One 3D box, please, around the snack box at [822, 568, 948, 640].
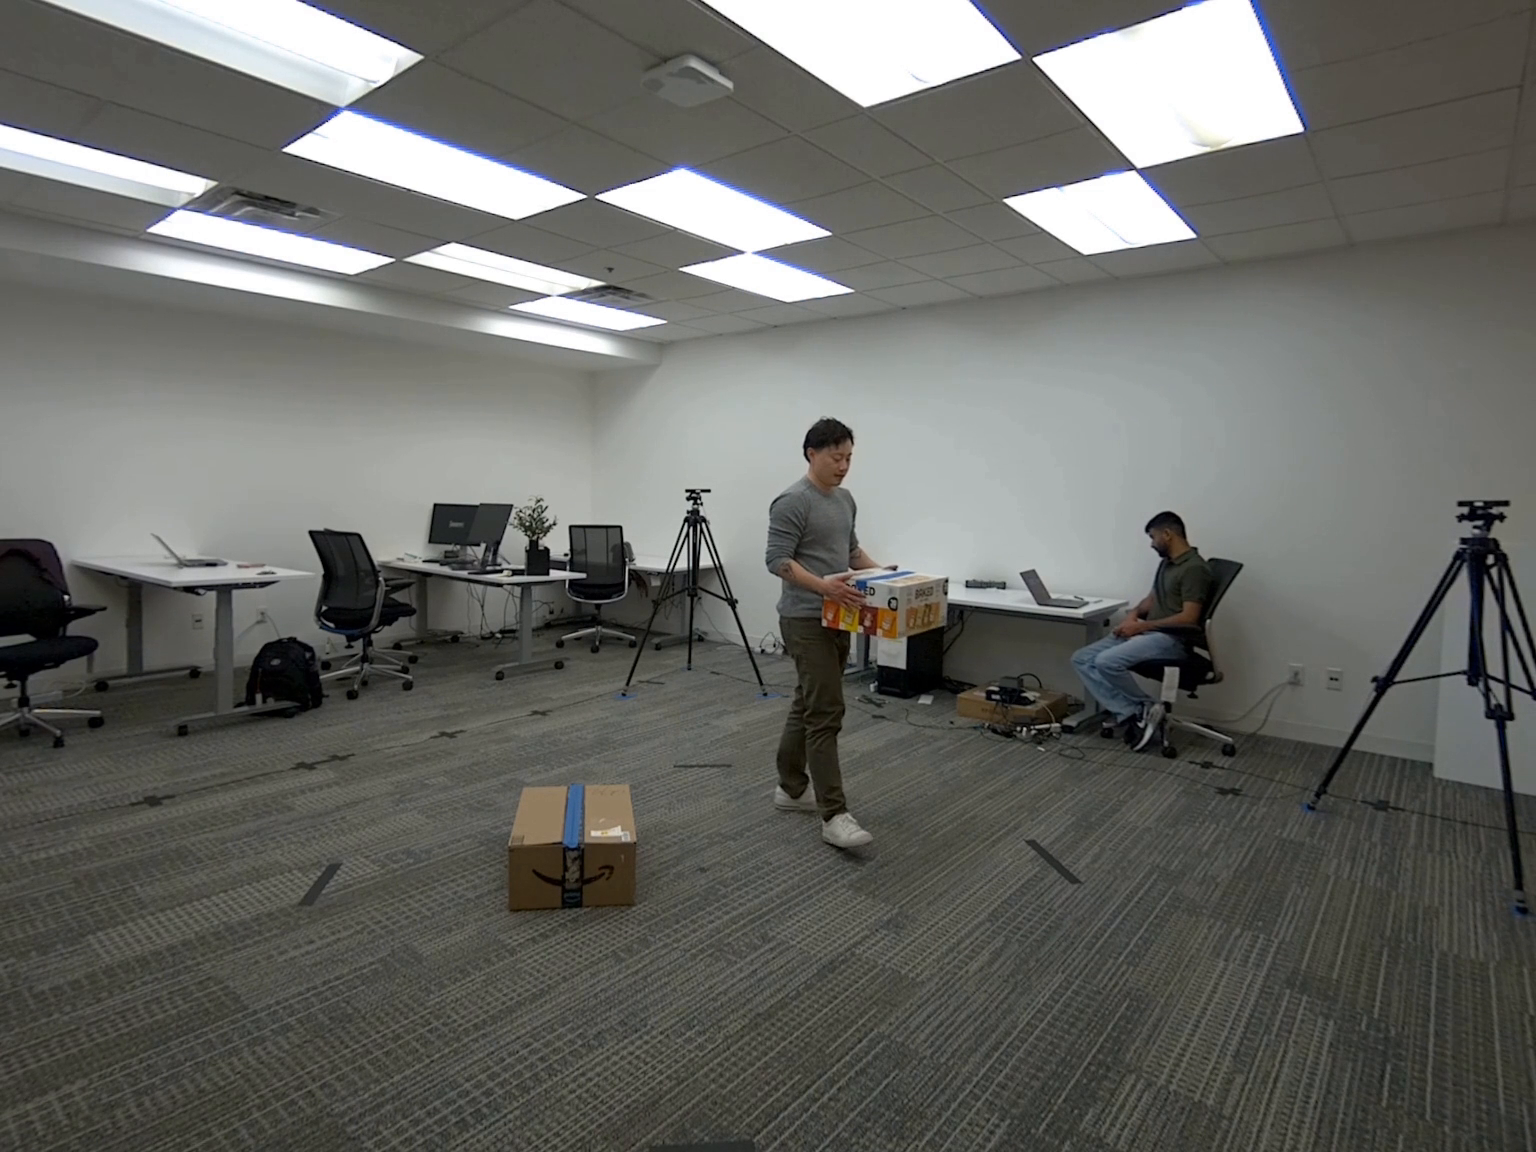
[{"bbox_3d":[0.467,0.098,3.397,0.352,0.204,0.394,7,10,38],"label":"snack box"}]
